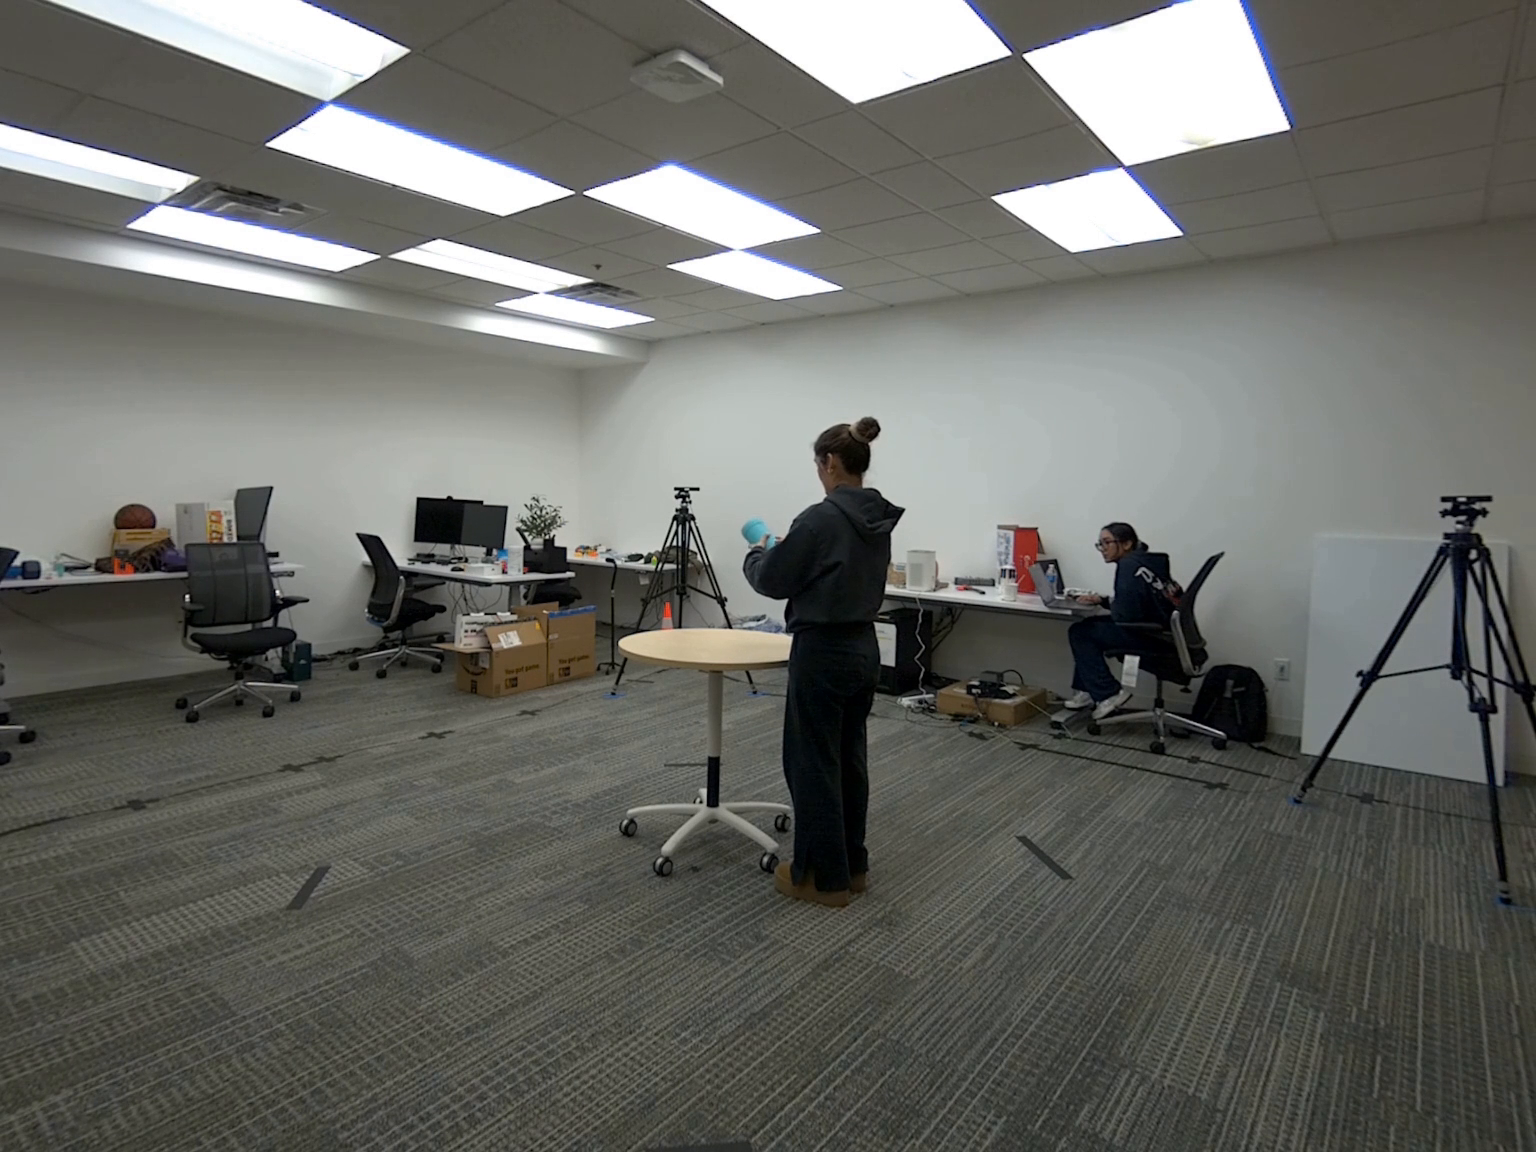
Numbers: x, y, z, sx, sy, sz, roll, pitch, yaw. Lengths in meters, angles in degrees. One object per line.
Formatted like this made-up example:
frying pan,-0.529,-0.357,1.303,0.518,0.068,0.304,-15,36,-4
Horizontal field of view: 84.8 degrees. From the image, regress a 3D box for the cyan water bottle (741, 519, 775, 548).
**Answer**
cyan water bottle,0.014,-0.098,3.154,0.089,0.091,0.294,-4,42,-47
